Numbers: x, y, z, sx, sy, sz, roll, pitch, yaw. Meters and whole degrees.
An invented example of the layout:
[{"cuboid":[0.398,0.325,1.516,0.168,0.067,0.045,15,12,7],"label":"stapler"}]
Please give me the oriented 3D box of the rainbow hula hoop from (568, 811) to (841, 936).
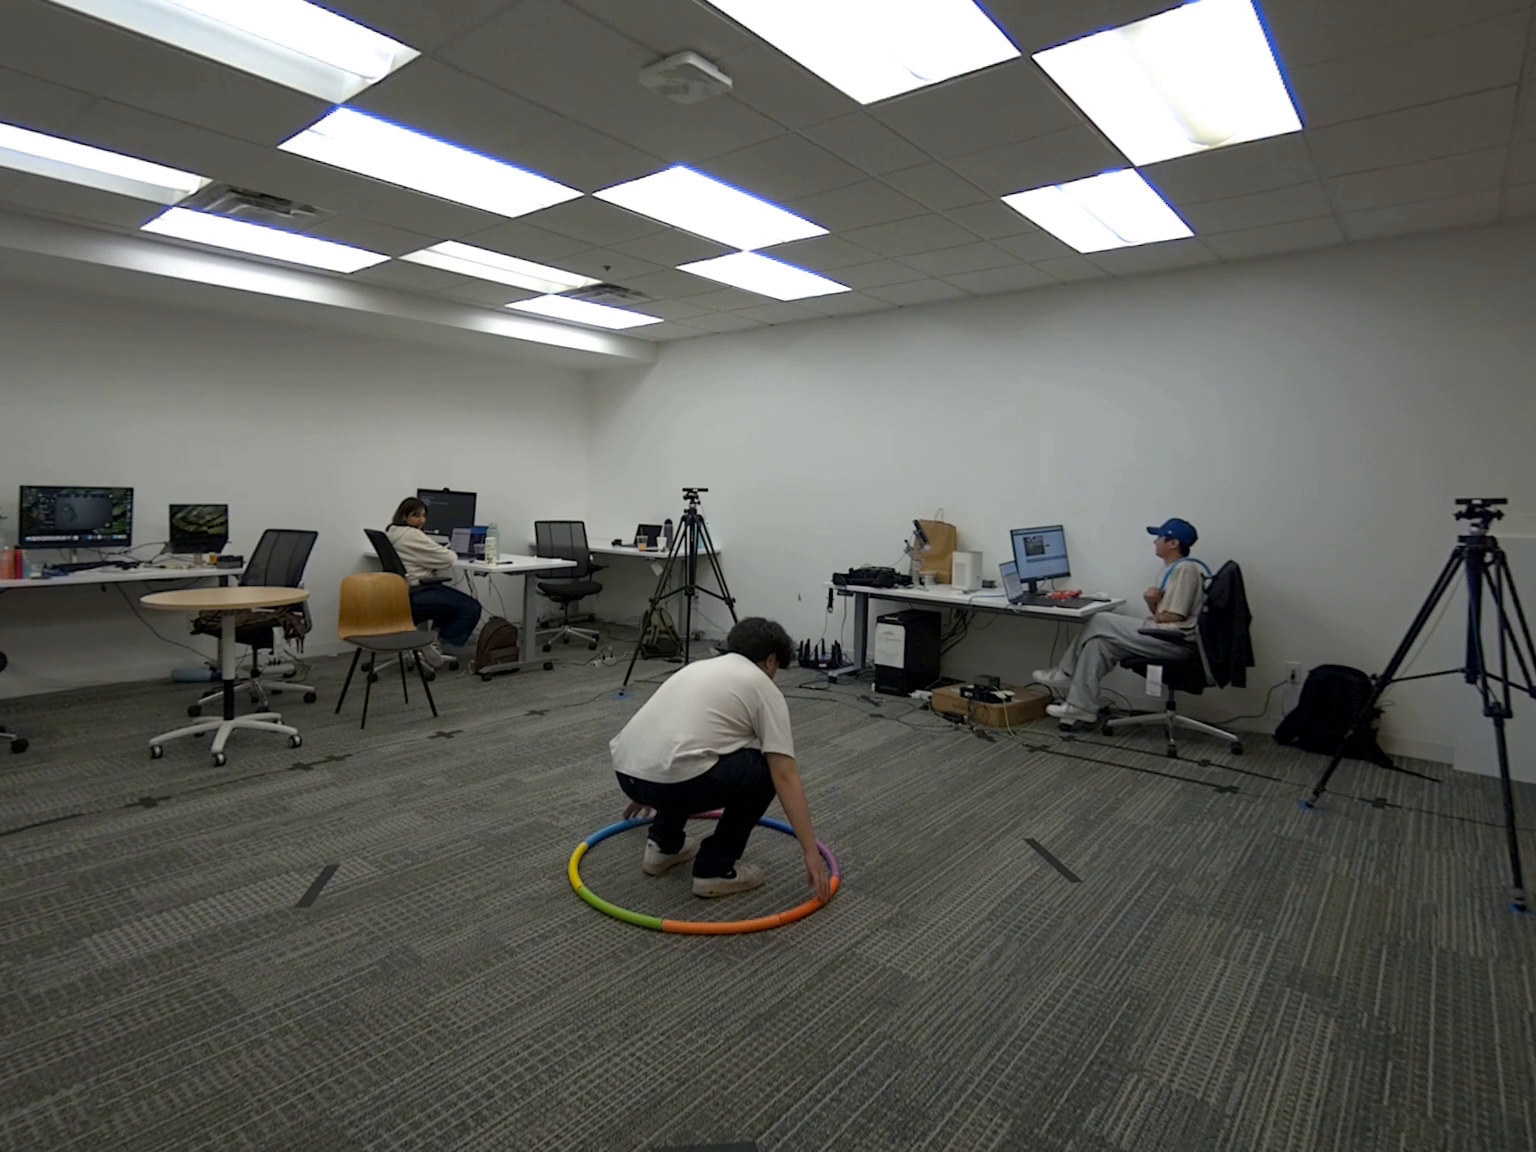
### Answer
[{"cuboid":[-0.244,1.040,3.124,0.984,0.051,0.991,1,6,-2],"label":"rainbow hula hoop"}]
